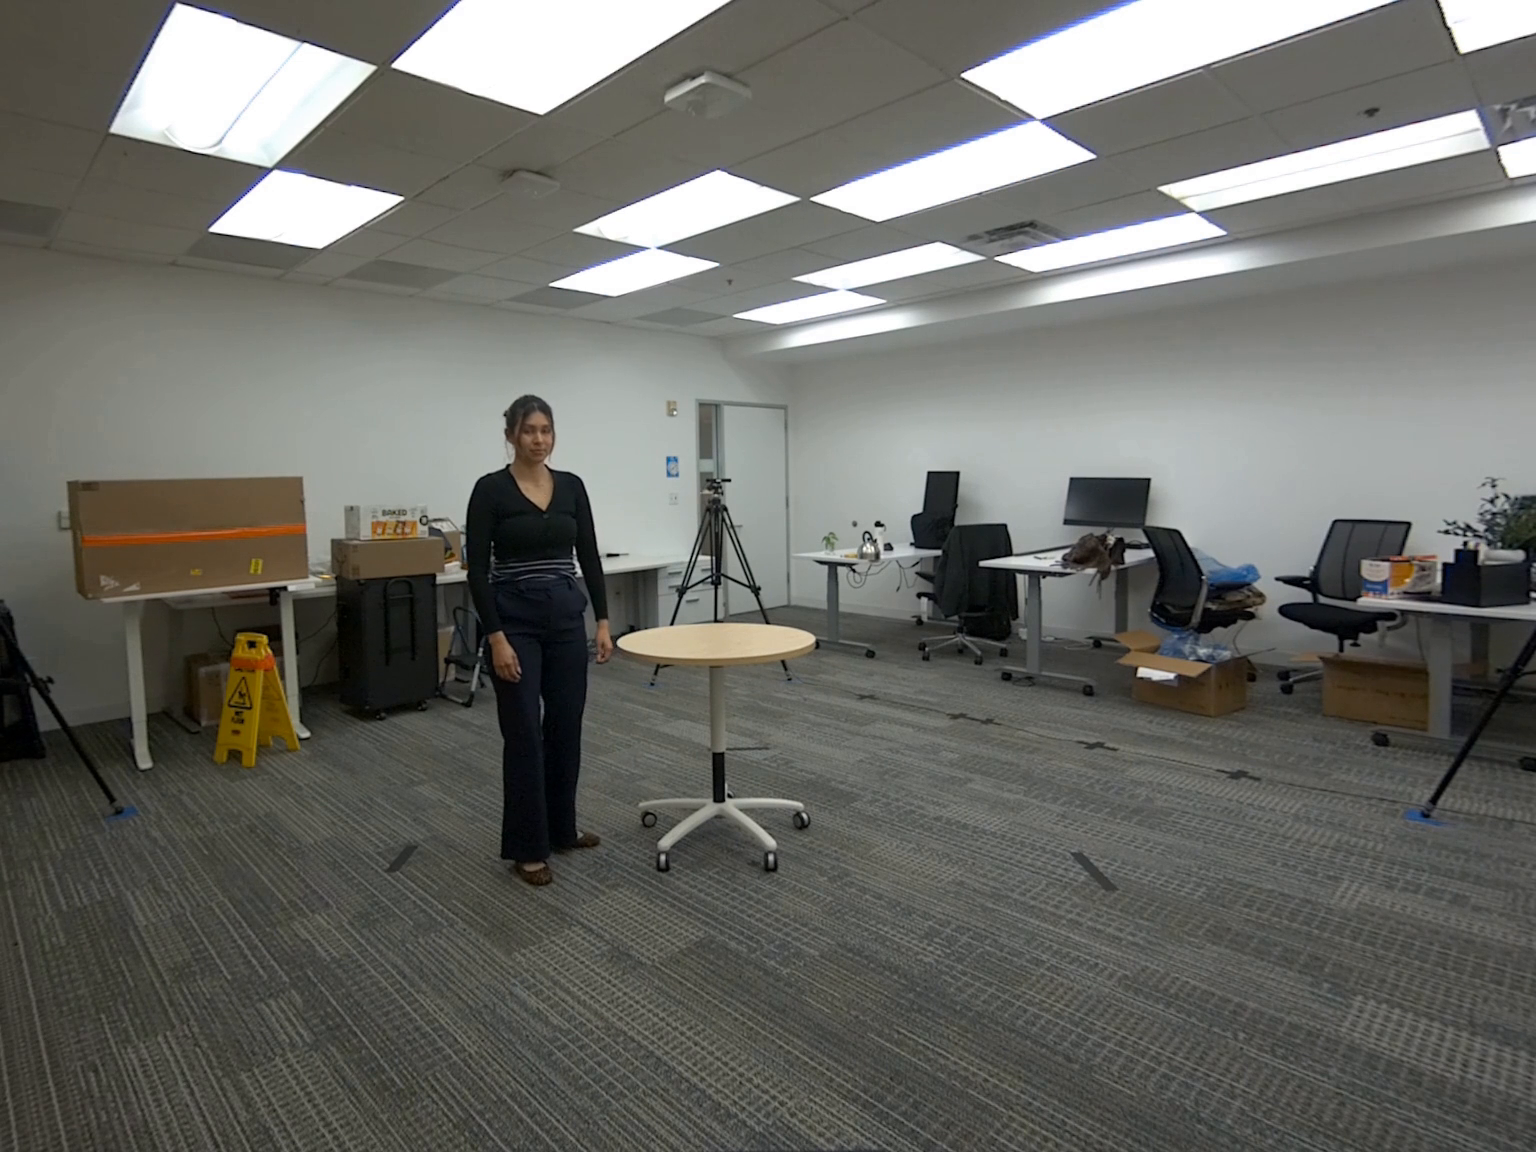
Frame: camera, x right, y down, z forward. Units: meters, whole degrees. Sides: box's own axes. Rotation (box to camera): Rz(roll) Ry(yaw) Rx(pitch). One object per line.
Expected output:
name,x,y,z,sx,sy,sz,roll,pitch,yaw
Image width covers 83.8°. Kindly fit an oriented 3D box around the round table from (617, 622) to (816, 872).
round table,-0.188,0.634,3.329,0.763,0.791,0.767,-1,4,-2
